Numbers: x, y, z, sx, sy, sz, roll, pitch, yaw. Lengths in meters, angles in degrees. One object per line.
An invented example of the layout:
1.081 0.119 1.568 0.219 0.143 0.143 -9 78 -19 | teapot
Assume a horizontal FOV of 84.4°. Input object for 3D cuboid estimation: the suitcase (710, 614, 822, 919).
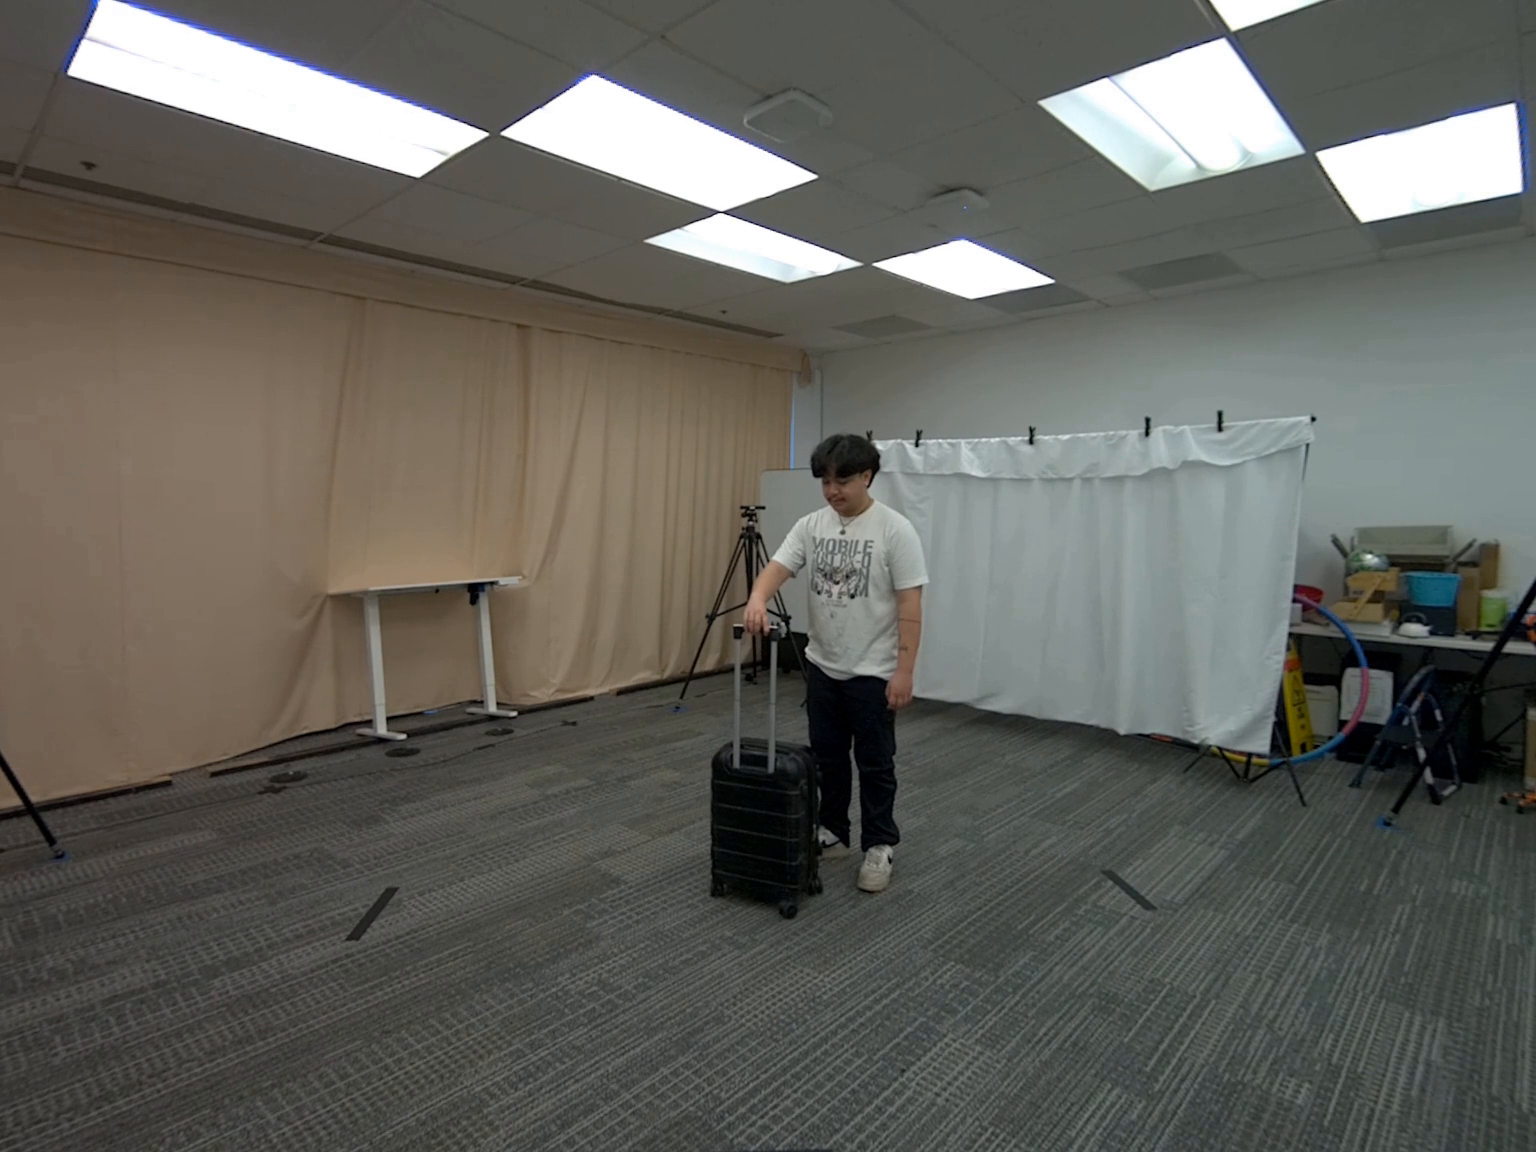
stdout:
-0.008 0.668 3.001 0.394 0.978 0.251 2 1 24 | suitcase
